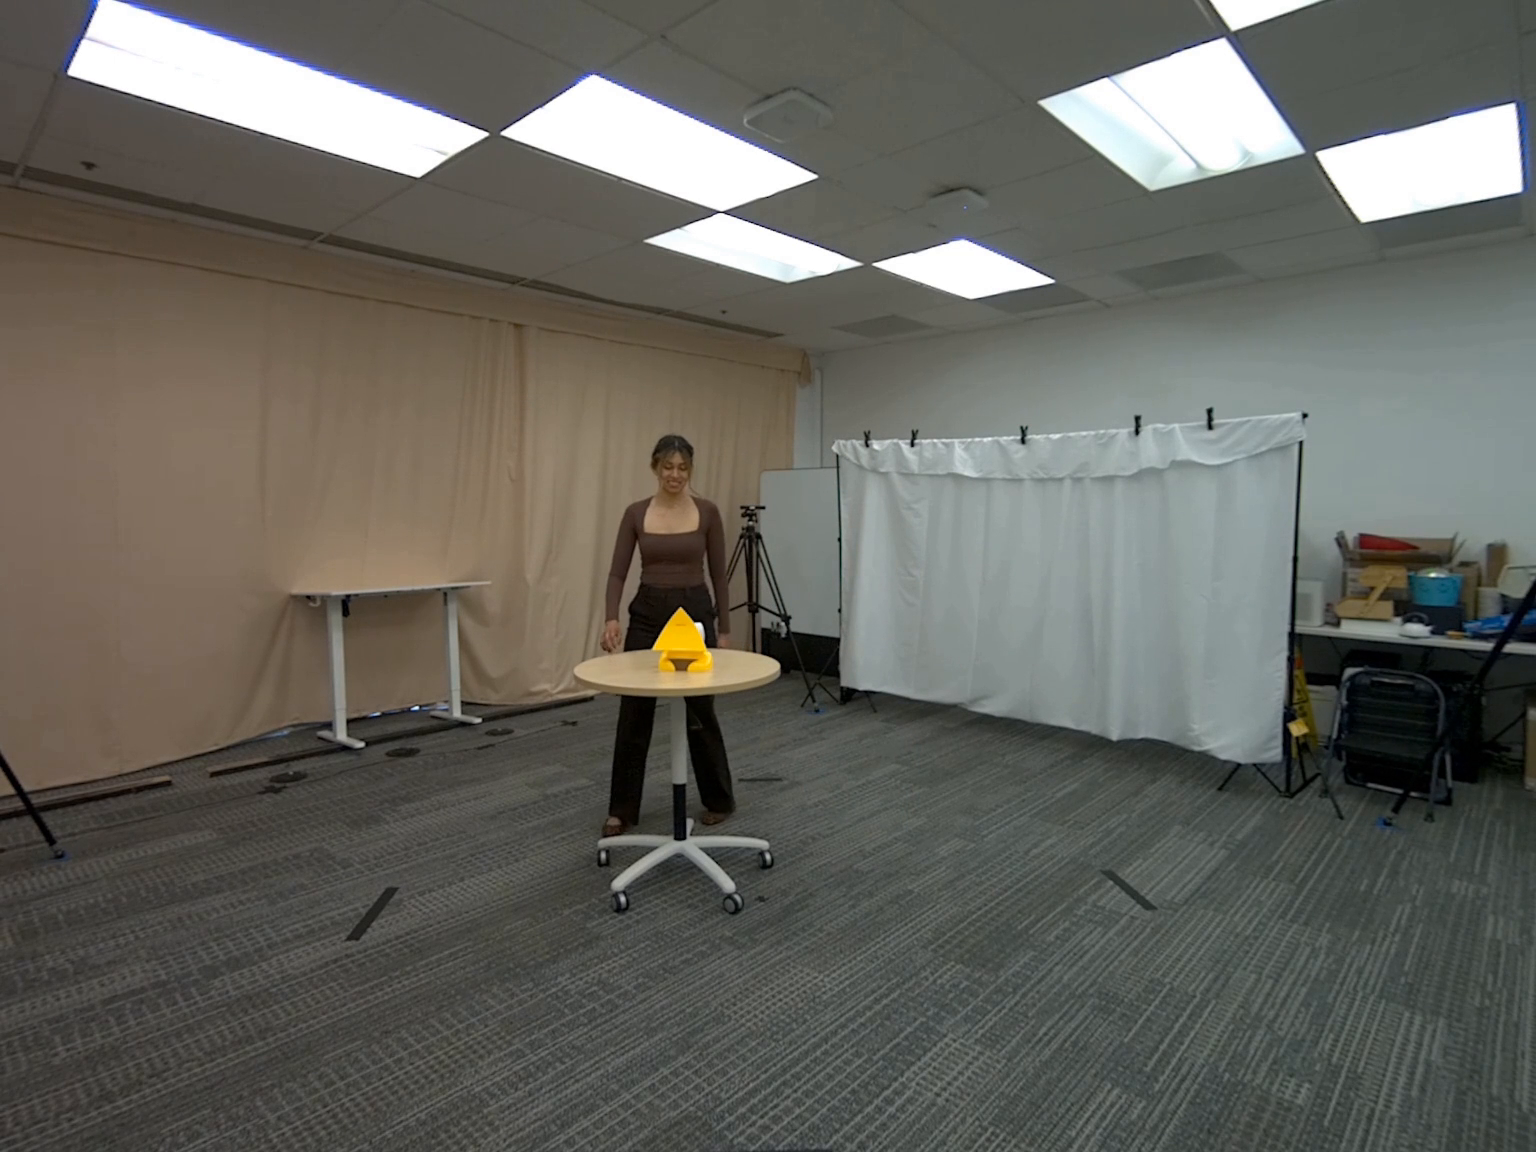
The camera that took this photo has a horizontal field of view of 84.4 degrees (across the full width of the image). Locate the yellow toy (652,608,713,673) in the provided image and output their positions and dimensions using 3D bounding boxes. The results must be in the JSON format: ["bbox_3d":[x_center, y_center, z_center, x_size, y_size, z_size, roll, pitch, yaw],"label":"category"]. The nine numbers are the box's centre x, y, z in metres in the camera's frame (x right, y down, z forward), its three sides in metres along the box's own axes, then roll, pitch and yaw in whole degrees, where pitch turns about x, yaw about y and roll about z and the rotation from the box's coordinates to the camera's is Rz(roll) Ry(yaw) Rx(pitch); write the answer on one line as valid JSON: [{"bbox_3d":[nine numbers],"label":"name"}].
[{"bbox_3d":[-0.306,0.220,3.110,0.207,0.230,0.191,0,5,9],"label":"yellow toy"}]
